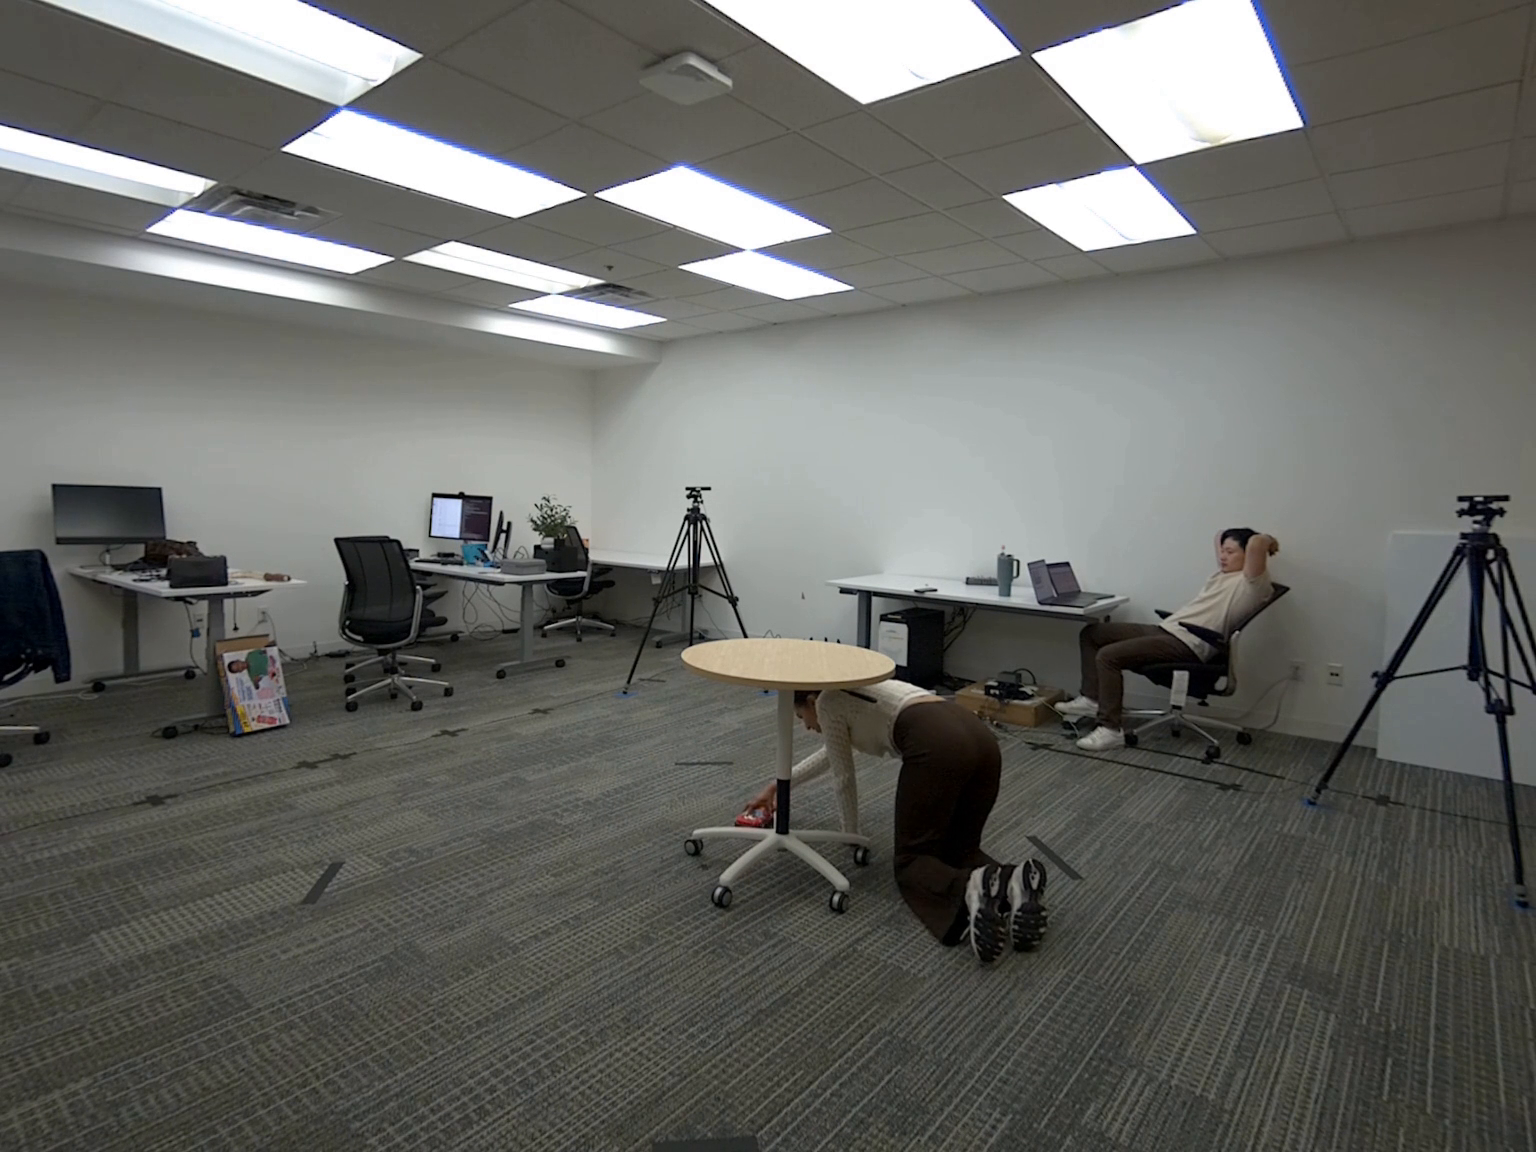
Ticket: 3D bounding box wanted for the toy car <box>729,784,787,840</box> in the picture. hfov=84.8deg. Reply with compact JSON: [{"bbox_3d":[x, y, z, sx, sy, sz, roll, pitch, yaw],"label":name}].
[{"bbox_3d":[-0.041,0.988,3.542,0.134,0.082,0.251,4,18,29],"label":"toy car"}]
